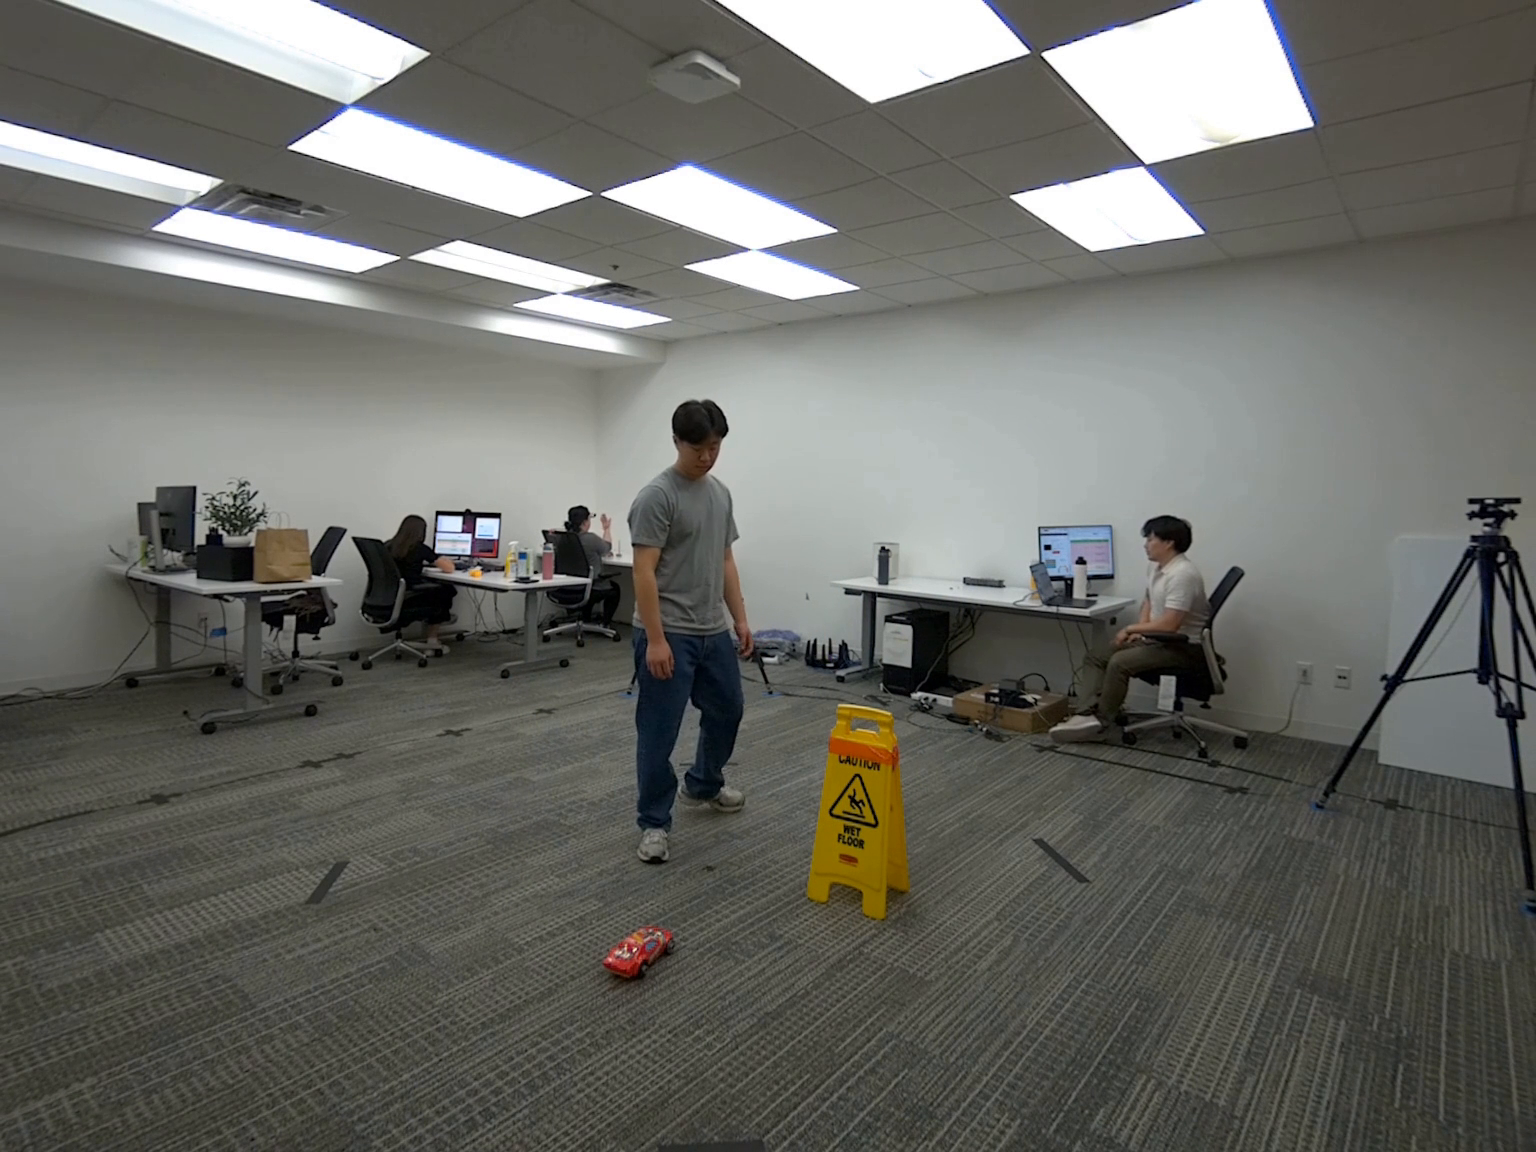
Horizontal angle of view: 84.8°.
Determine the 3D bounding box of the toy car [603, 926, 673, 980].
[{"bbox_3d":[-0.390,1.096,2.472,0.134,0.083,0.247,4,-4,26],"label":"toy car"}]
